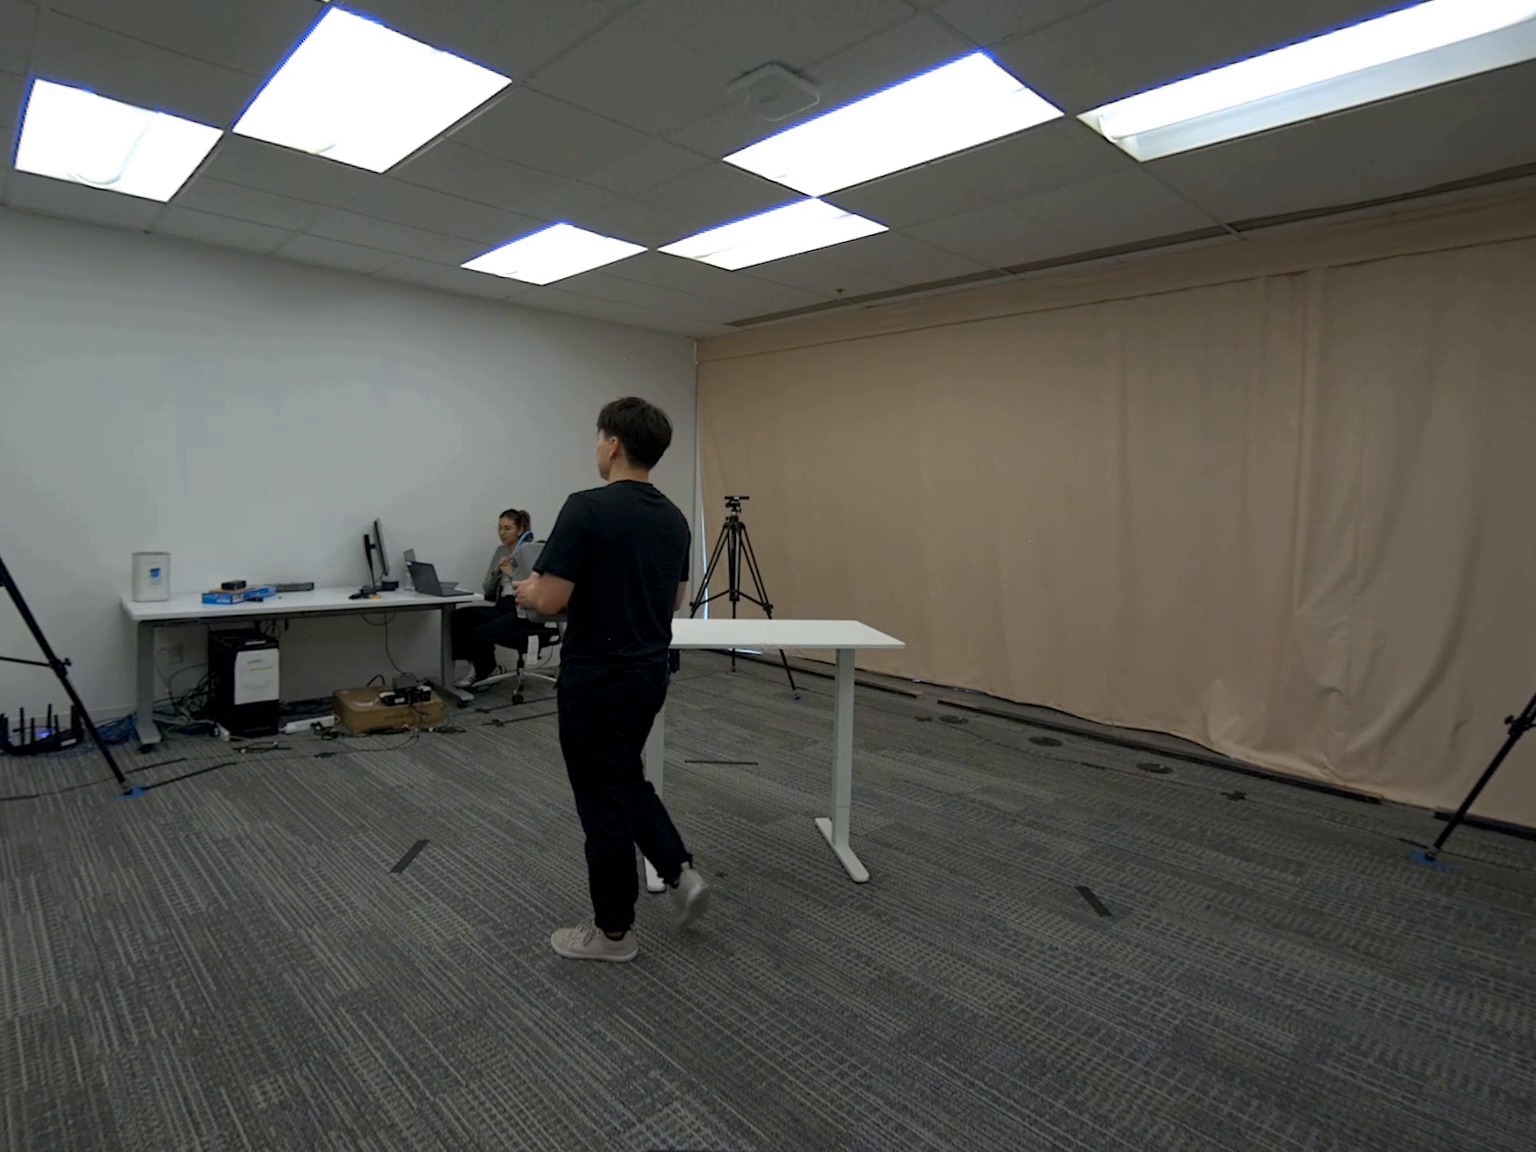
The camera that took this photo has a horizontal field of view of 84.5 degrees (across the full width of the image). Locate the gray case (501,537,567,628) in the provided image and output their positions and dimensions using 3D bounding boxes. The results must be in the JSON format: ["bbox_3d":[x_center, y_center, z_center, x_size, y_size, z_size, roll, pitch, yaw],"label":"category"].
[{"bbox_3d":[-0.681,0.023,2.705,0.105,0.266,0.250,-37,-23,28],"label":"gray case"}]
